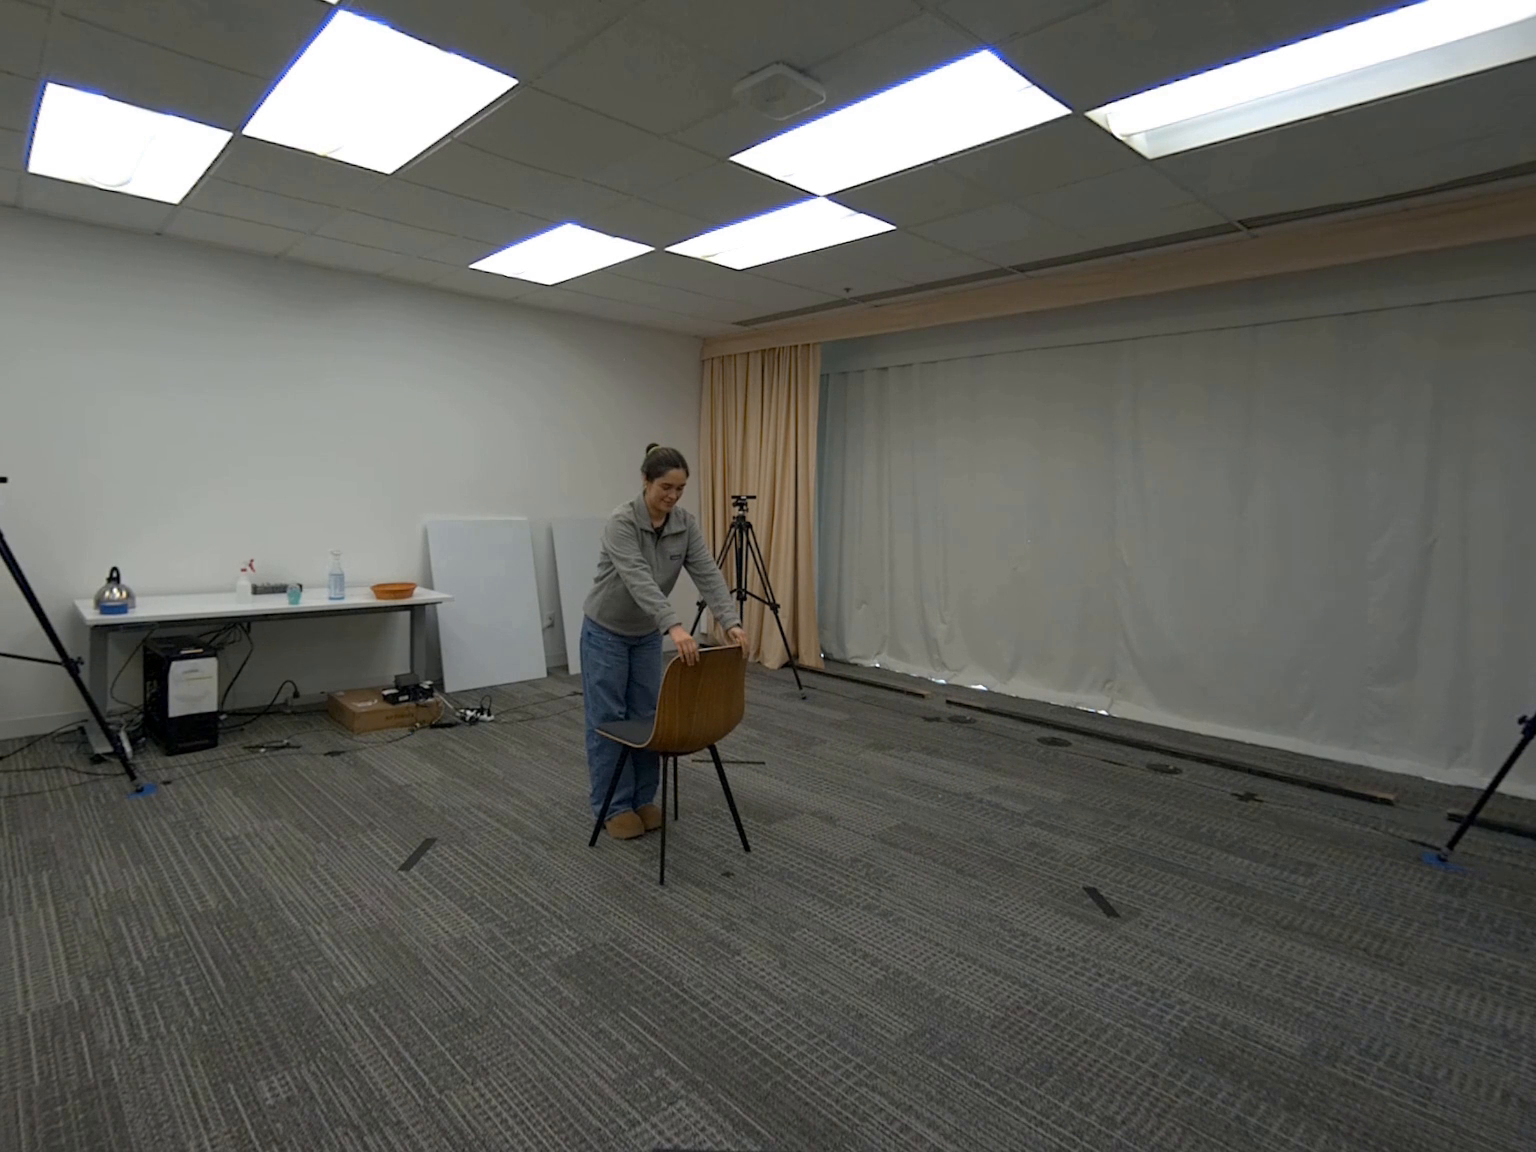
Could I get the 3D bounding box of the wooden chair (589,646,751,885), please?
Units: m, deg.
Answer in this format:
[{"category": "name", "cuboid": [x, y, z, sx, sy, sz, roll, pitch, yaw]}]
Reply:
[{"category": "wooden chair", "cuboid": [-0.384, 0.653, 3.285, 0.467, 0.873, 0.537, -2, 9, -45]}]
